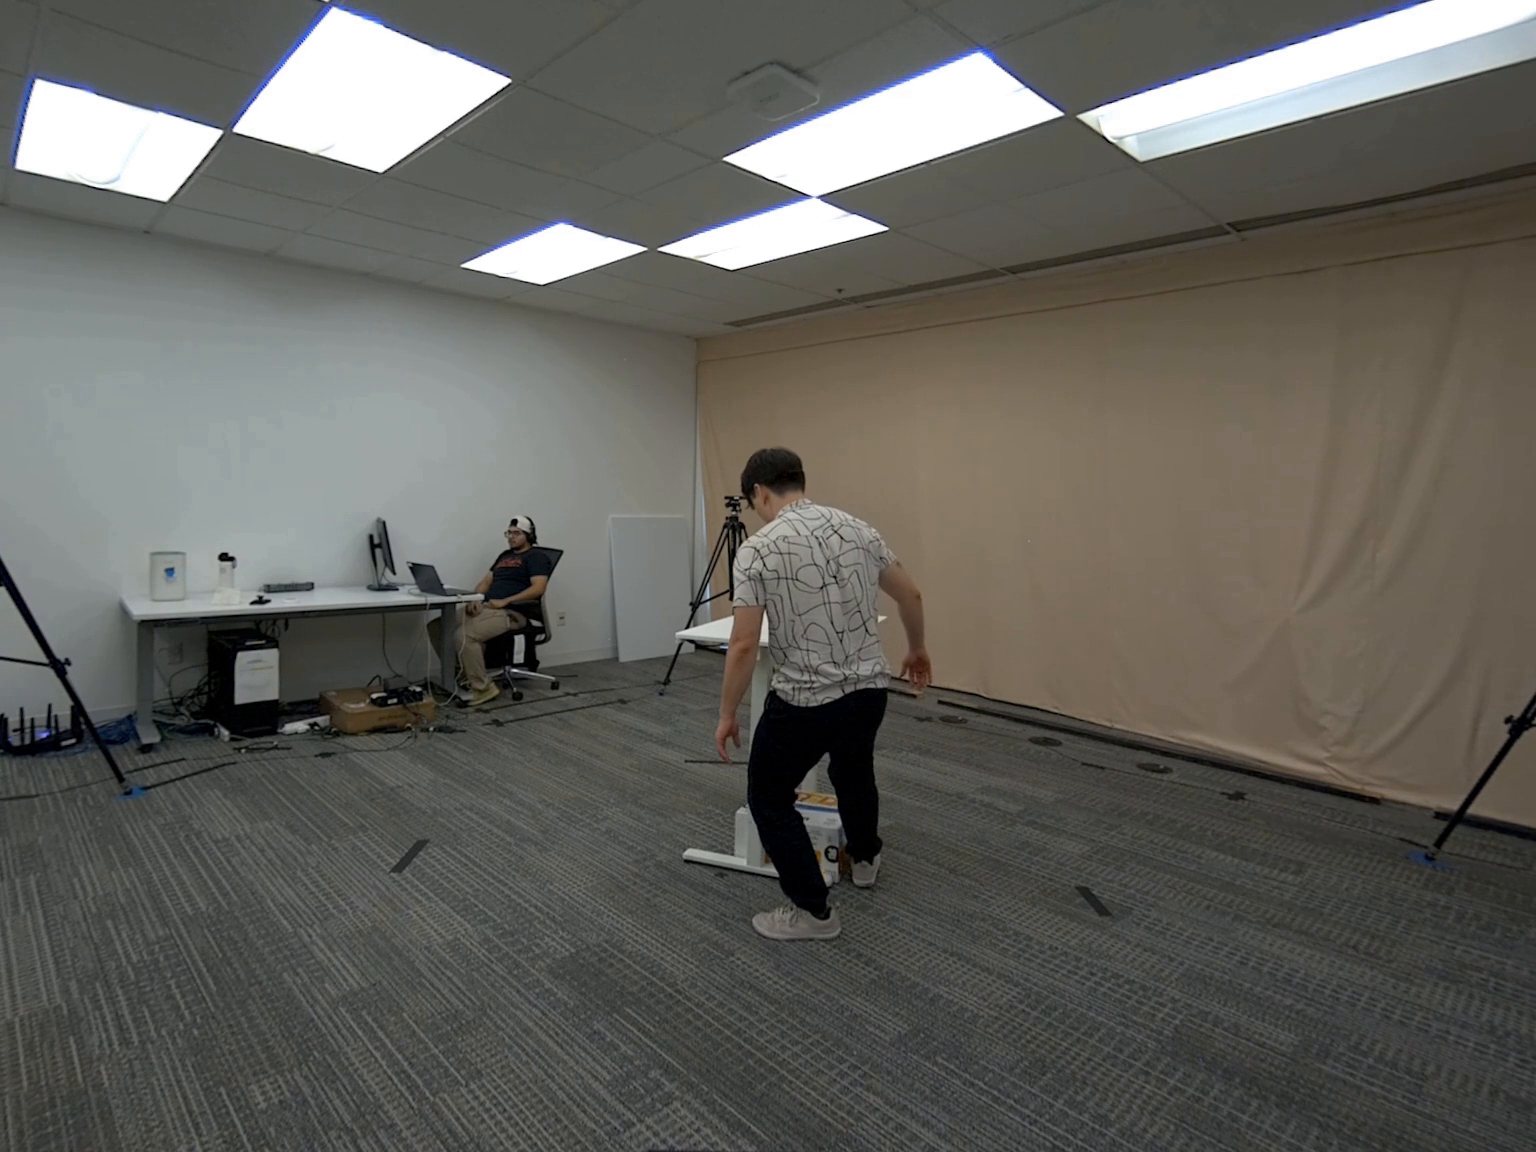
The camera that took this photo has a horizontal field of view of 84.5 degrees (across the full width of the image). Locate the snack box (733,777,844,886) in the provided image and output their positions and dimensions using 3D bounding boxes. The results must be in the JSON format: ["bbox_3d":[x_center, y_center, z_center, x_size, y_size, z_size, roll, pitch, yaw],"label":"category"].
[{"bbox_3d":[0.111,0.991,3.271,0.412,0.205,0.335,3,4,21],"label":"snack box"}]
